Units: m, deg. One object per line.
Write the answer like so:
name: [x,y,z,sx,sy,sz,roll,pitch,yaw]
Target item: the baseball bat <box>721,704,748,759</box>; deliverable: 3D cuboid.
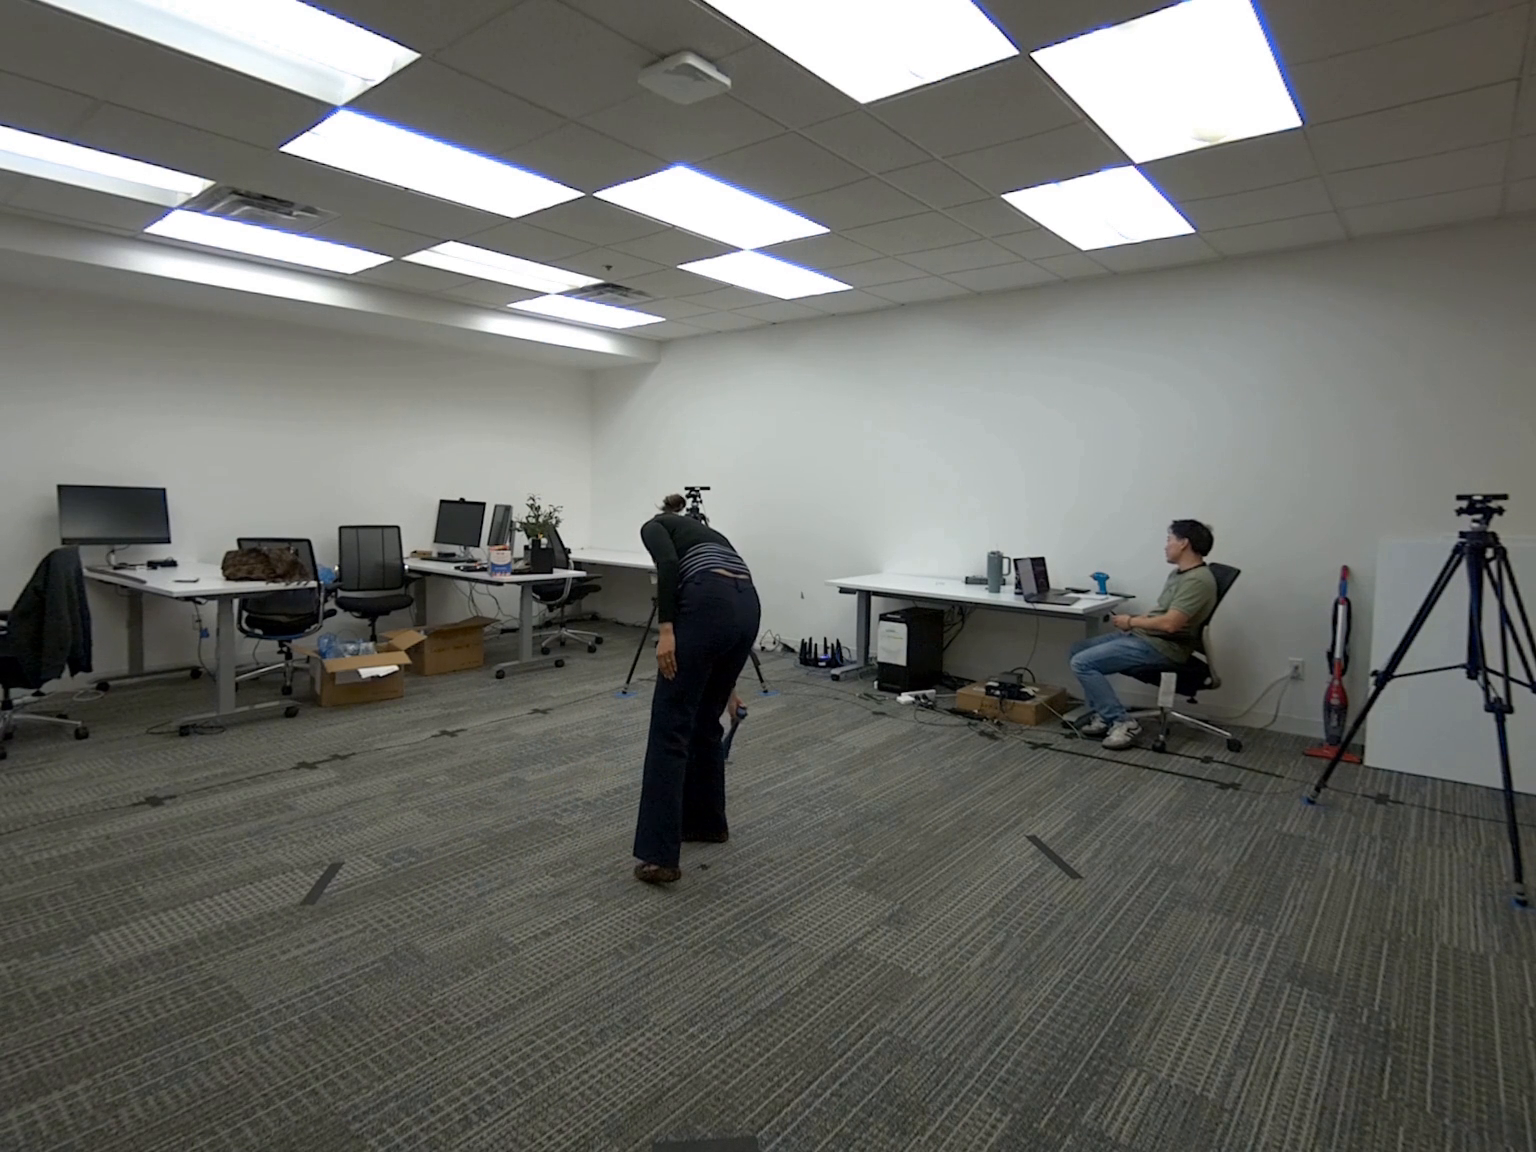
baseball bat: [-0.222,0.767,3.756,0.088,0.535,0.091,14,37,-13]
